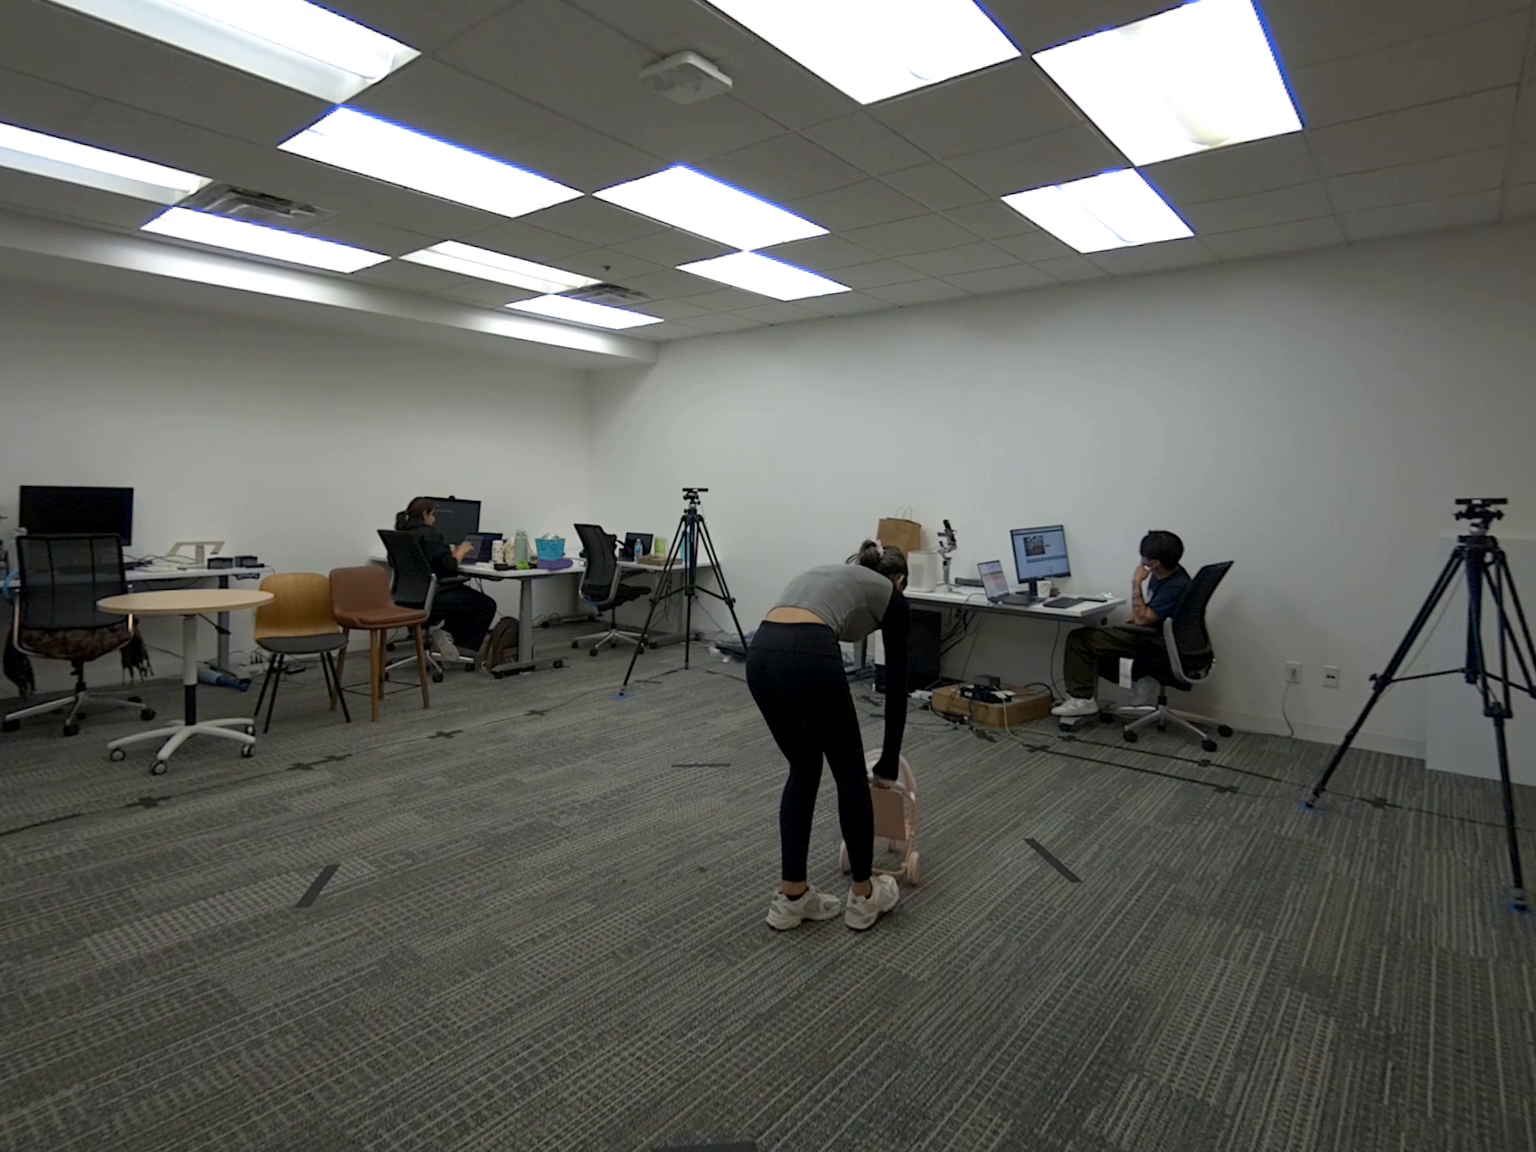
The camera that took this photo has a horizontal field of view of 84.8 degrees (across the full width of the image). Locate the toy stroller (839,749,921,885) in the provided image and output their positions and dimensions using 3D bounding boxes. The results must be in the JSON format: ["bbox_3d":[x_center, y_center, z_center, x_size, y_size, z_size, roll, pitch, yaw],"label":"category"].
[{"bbox_3d":[0.418,0.856,3.124,0.288,0.525,0.339,3,21,23],"label":"toy stroller"}]
